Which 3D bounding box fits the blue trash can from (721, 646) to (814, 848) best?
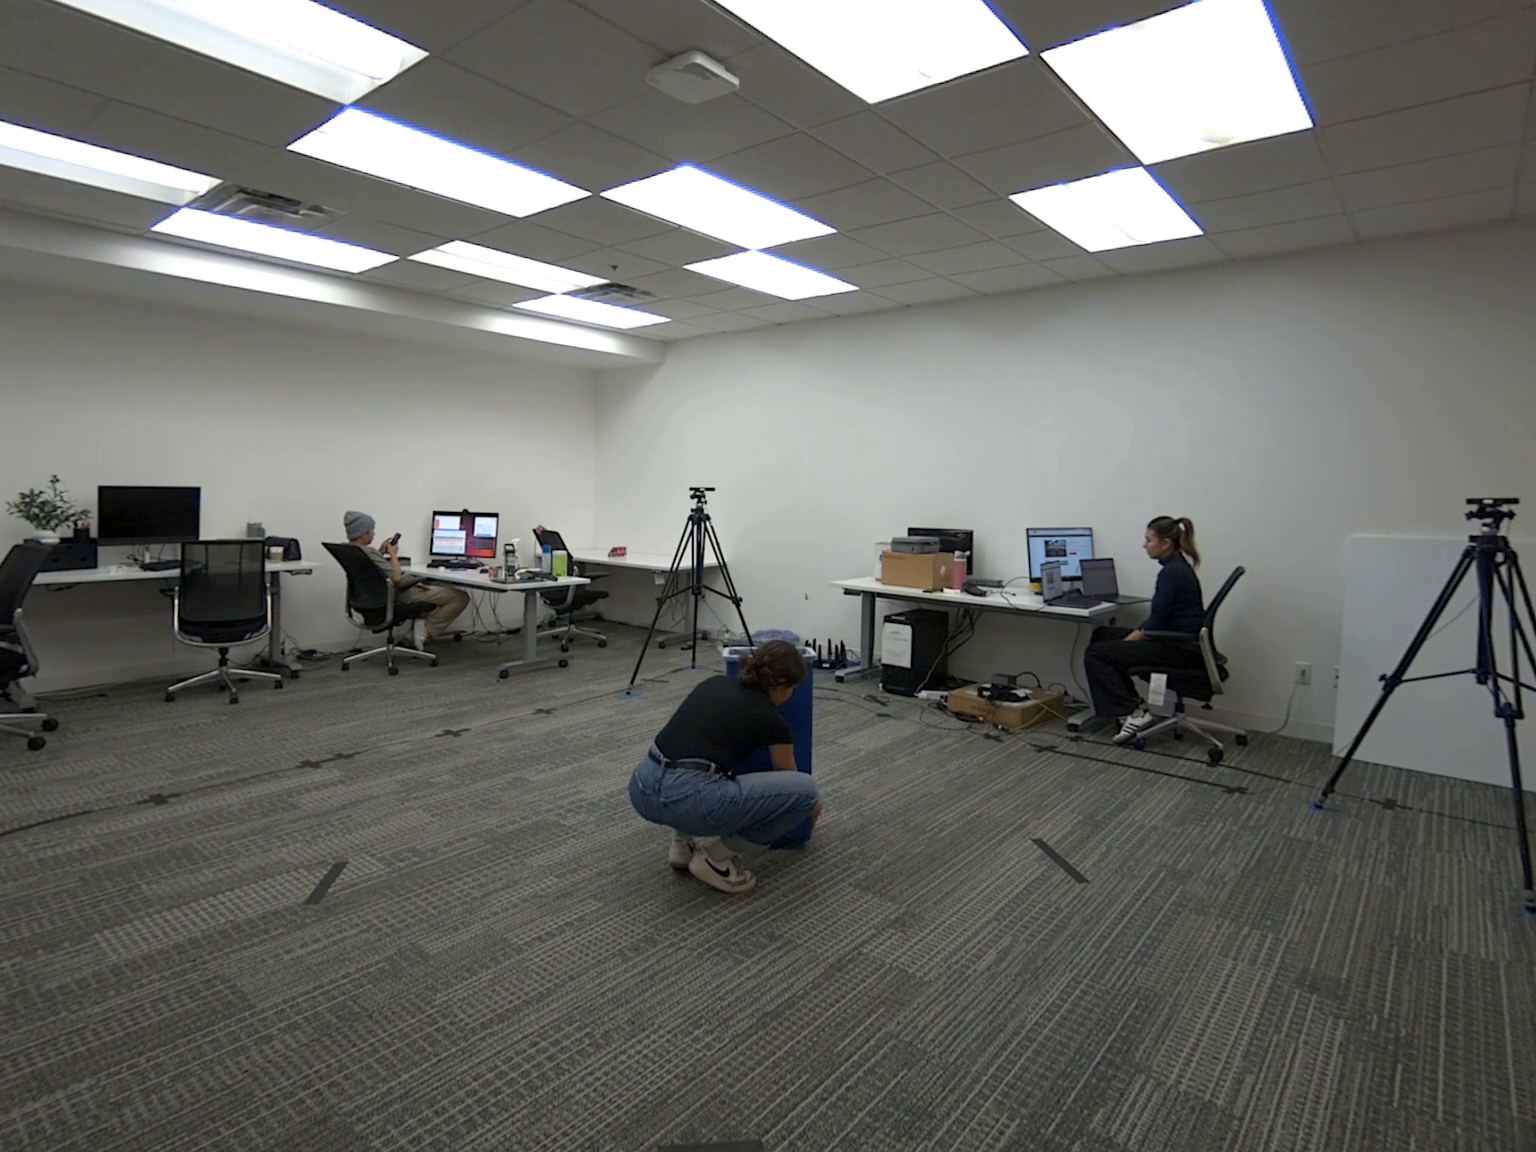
[{"bbox_3d":[-0.002,0.656,3.452,0.379,0.715,0.373,0,-2,1],"label":"blue trash can"}]
